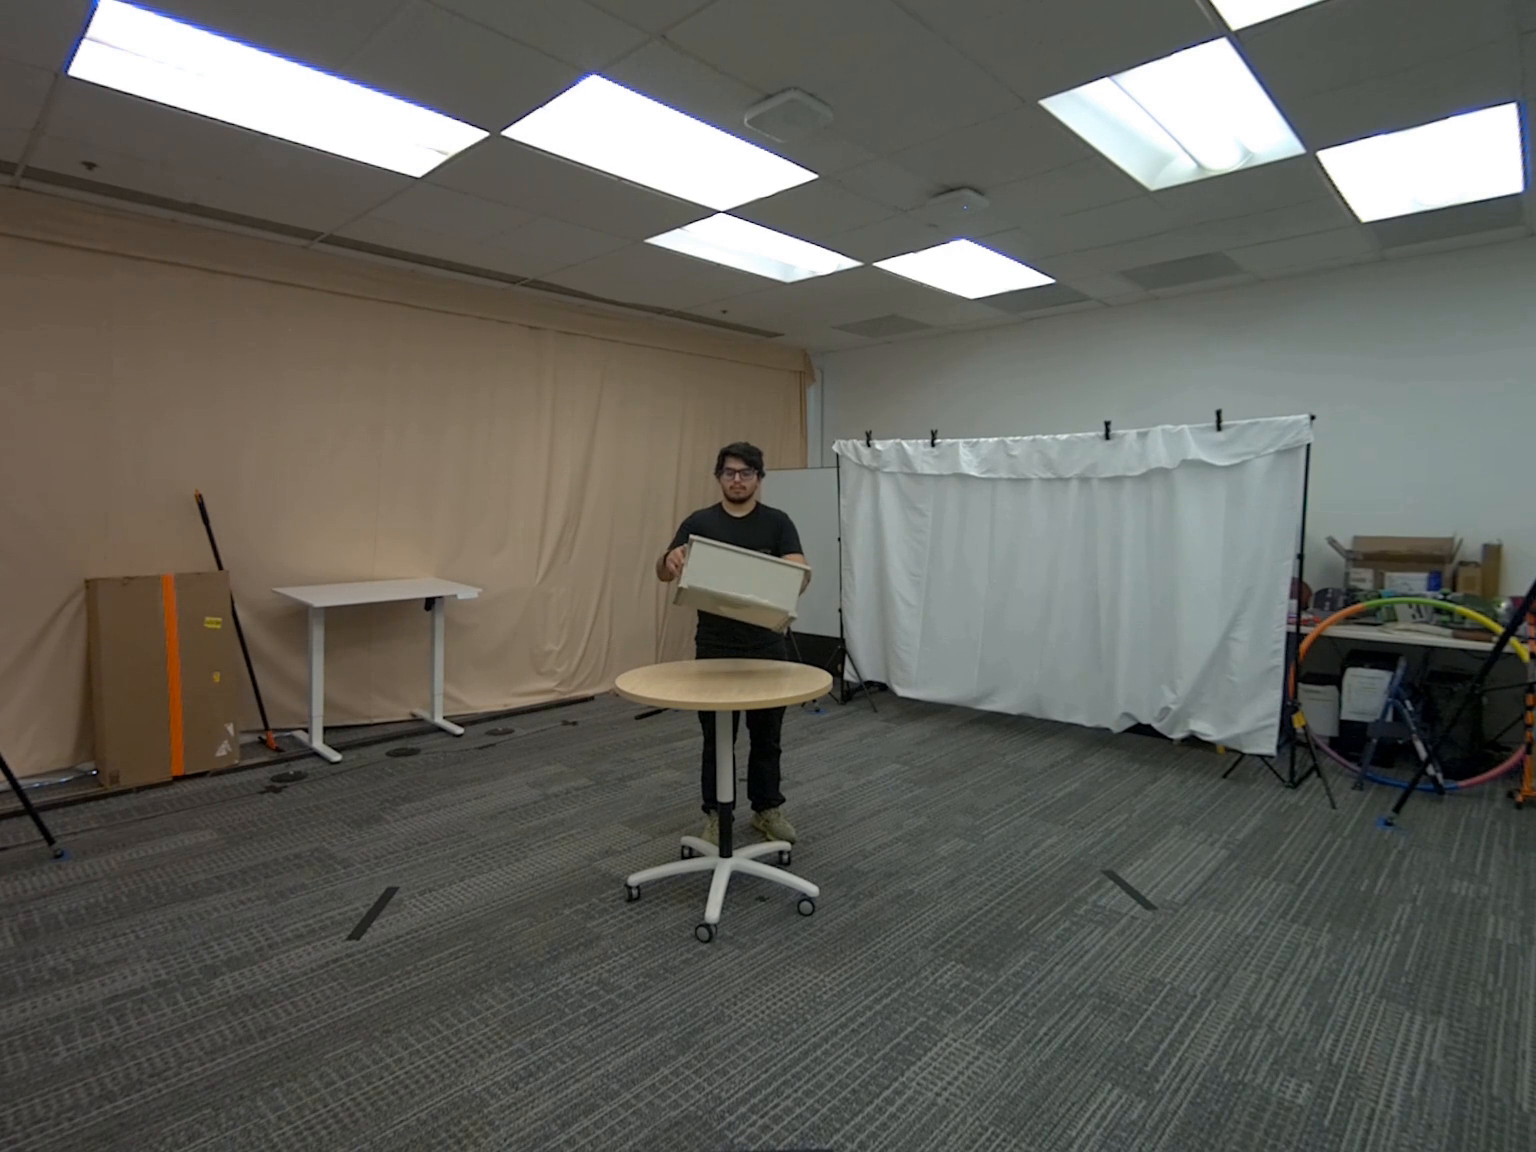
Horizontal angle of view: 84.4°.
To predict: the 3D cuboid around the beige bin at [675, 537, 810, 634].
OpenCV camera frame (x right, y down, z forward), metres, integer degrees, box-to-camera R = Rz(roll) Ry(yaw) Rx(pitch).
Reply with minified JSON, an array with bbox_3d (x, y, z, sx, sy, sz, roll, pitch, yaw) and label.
[{"bbox_3d":[-0.109,0.045,2.983,0.421,0.190,0.377,18,-14,-4],"label":"beige bin"}]
